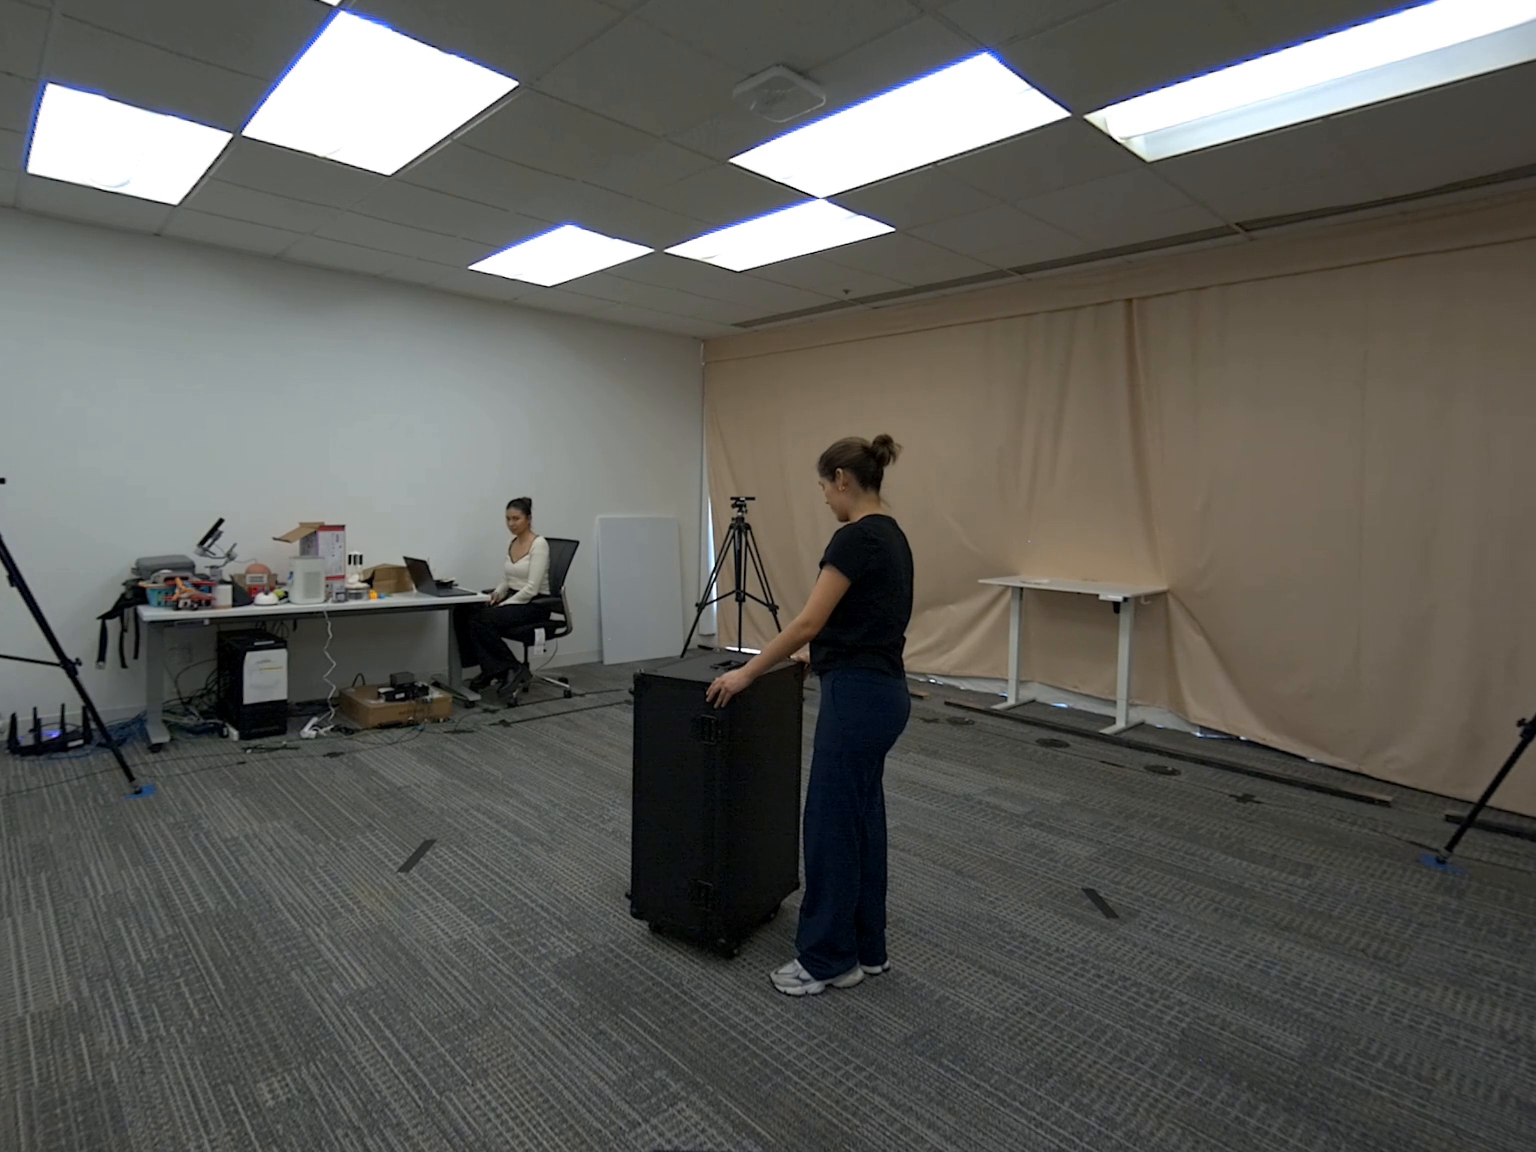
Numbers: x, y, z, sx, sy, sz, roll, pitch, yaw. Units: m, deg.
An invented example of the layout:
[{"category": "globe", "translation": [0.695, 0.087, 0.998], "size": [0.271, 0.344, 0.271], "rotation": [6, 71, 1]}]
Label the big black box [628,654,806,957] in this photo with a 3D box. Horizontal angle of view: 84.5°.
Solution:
[{"category": "big black box", "translation": [-0.173, 0.714, 2.730], "size": [0.405, 0.860, 0.511], "rotation": [2, 3, 30]}]
